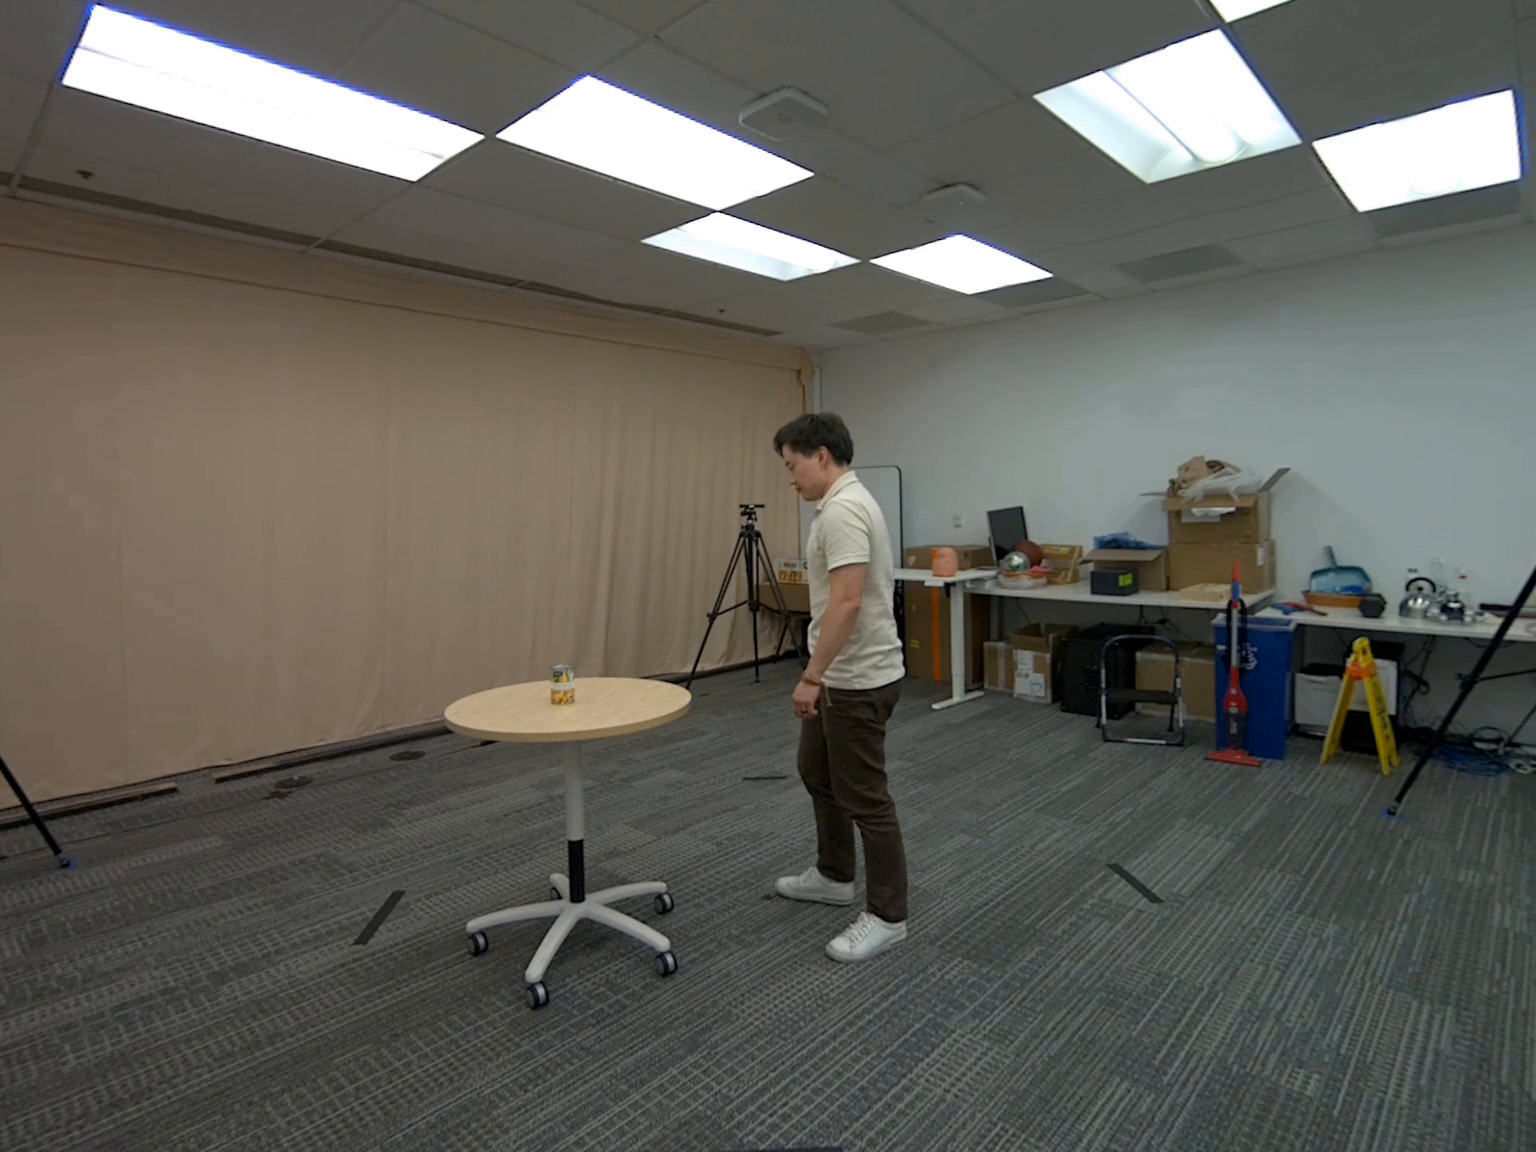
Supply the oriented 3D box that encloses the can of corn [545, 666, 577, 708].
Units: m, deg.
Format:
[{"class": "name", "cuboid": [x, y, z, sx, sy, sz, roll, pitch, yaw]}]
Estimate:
[{"class": "can of corn", "cuboid": [-0.649, 0.344, 2.650, 0.074, 0.111, 0.074, -4, 1, -2]}]
